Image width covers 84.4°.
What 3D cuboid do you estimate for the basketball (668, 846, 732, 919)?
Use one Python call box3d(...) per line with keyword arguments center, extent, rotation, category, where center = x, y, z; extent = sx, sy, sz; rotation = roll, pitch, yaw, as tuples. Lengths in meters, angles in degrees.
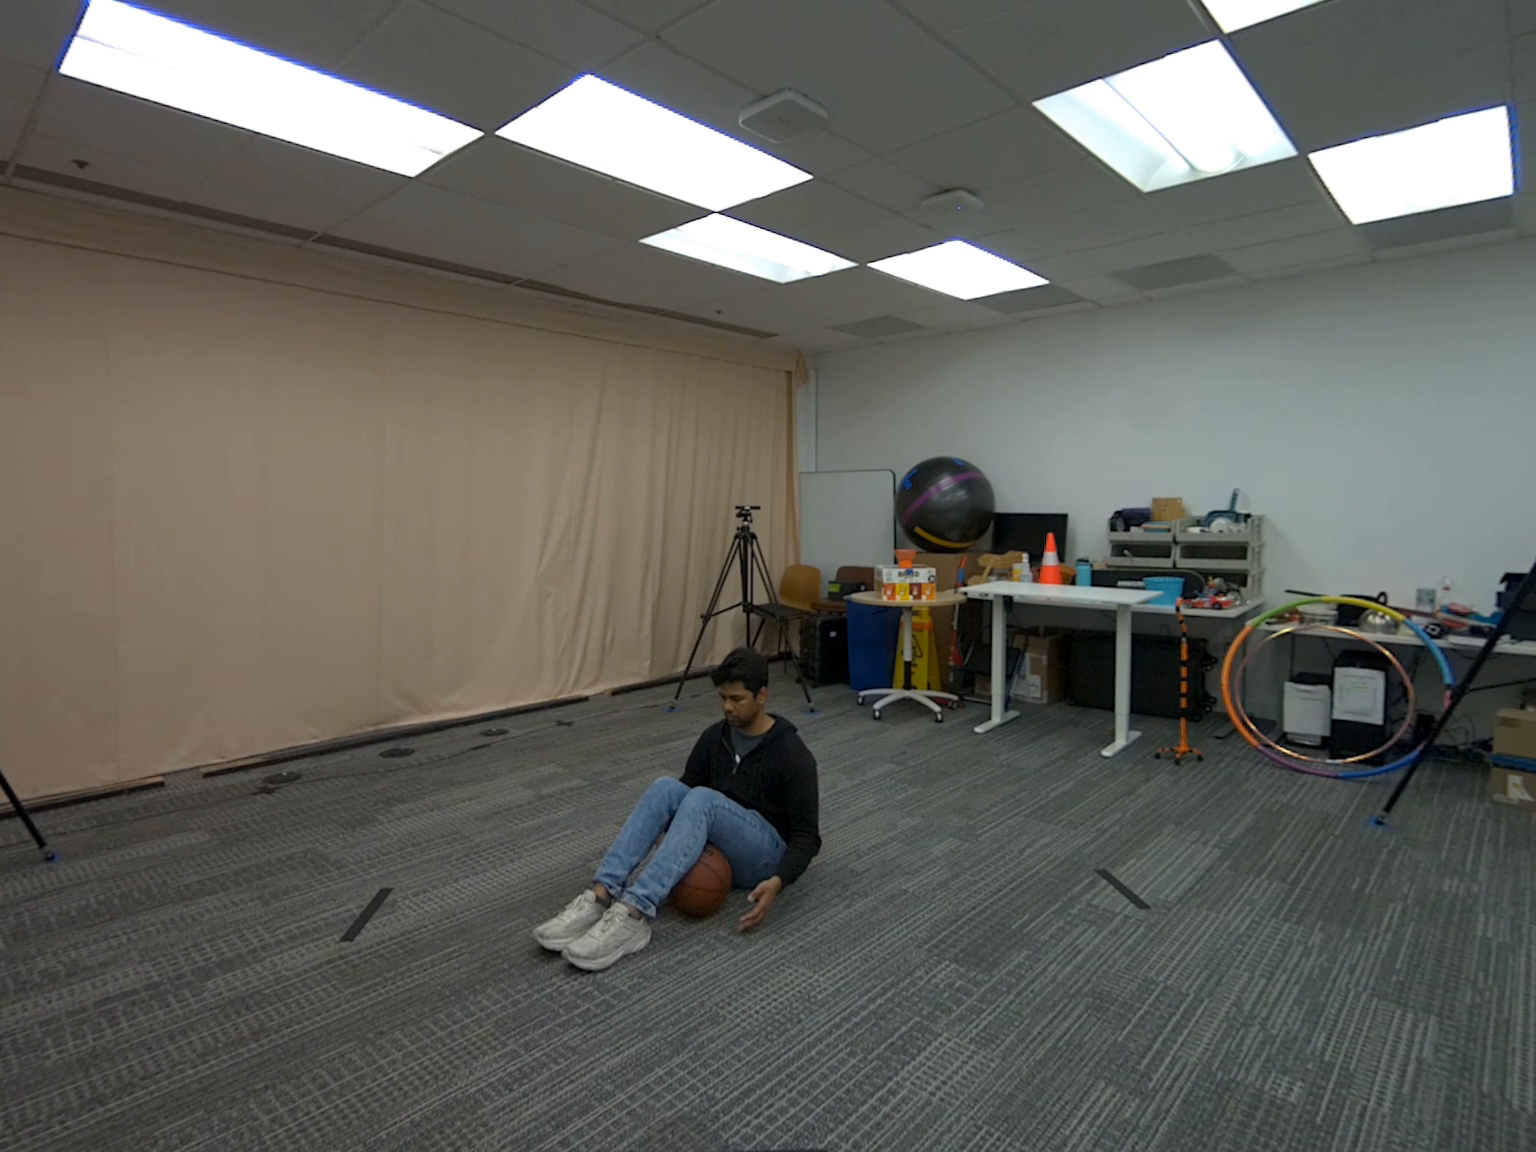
box3d(center=(-0.234, 1.024, 2.868), extent=(0.236, 0.235, 0.237), rotation=(0, 4, -2), category="basketball")
